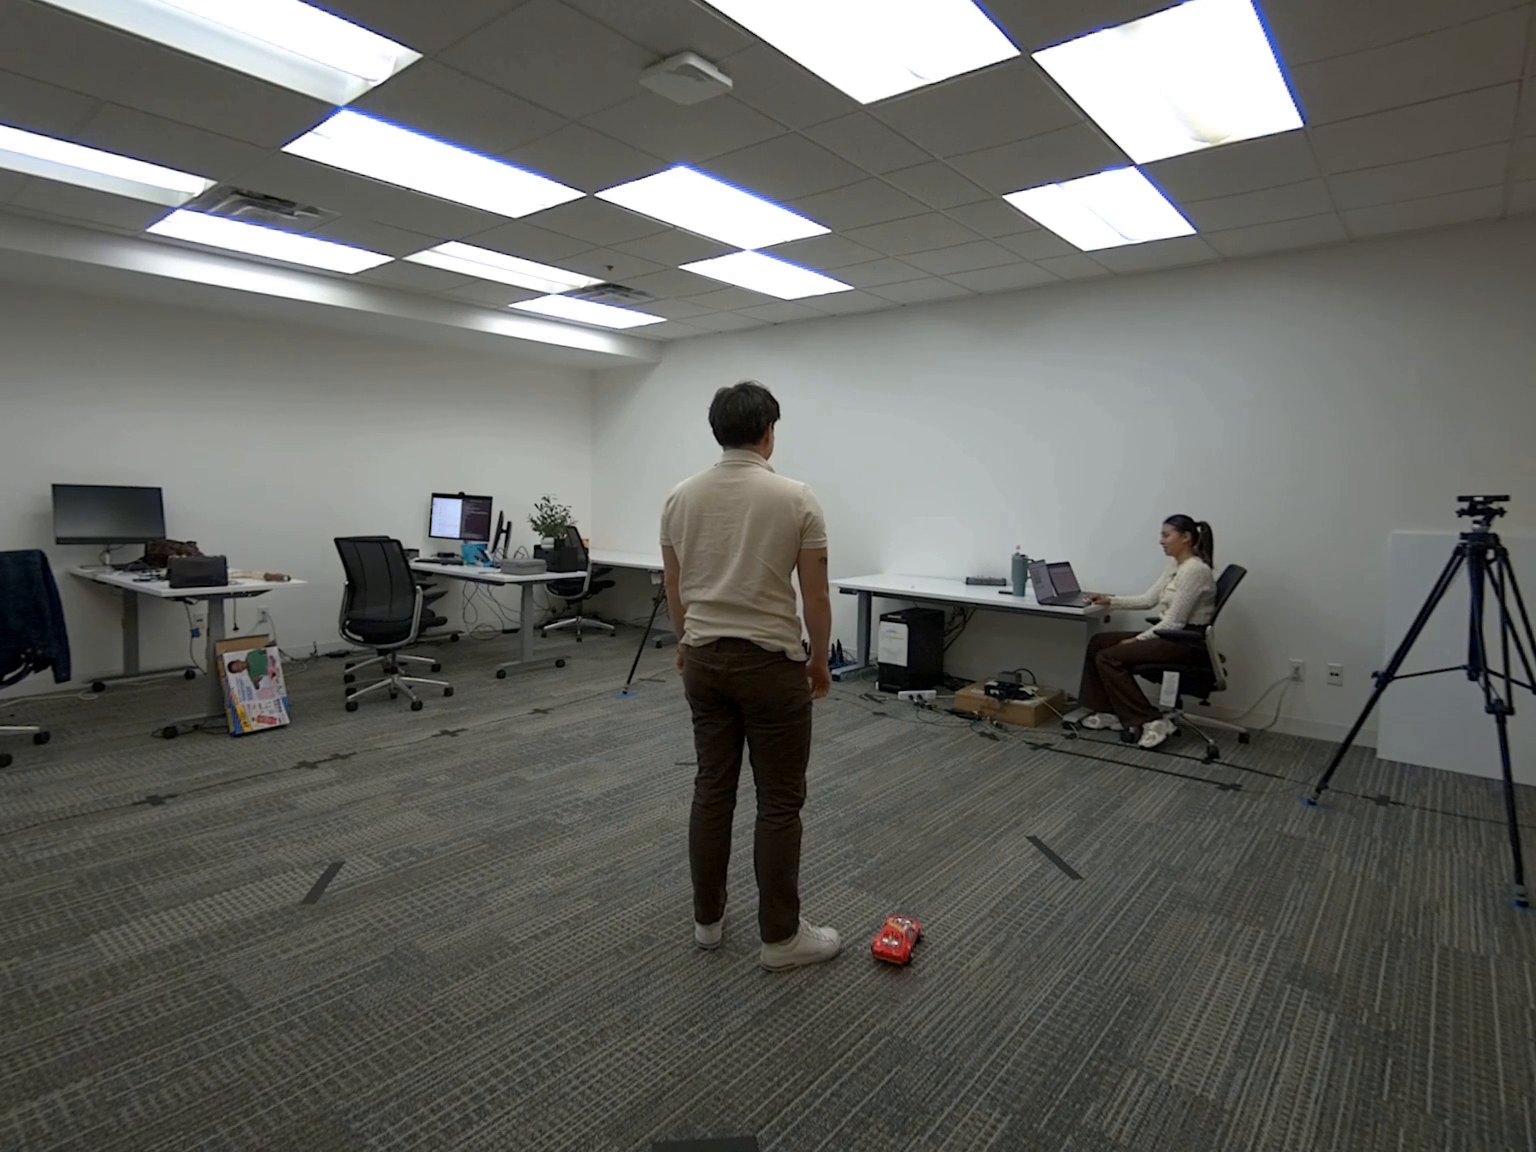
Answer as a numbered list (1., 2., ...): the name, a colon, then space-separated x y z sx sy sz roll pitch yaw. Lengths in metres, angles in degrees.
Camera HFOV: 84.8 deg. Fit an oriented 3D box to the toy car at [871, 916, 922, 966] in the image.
1. toy car: 0.385 1.103 2.567 0.134 0.083 0.247 5 -4 23
